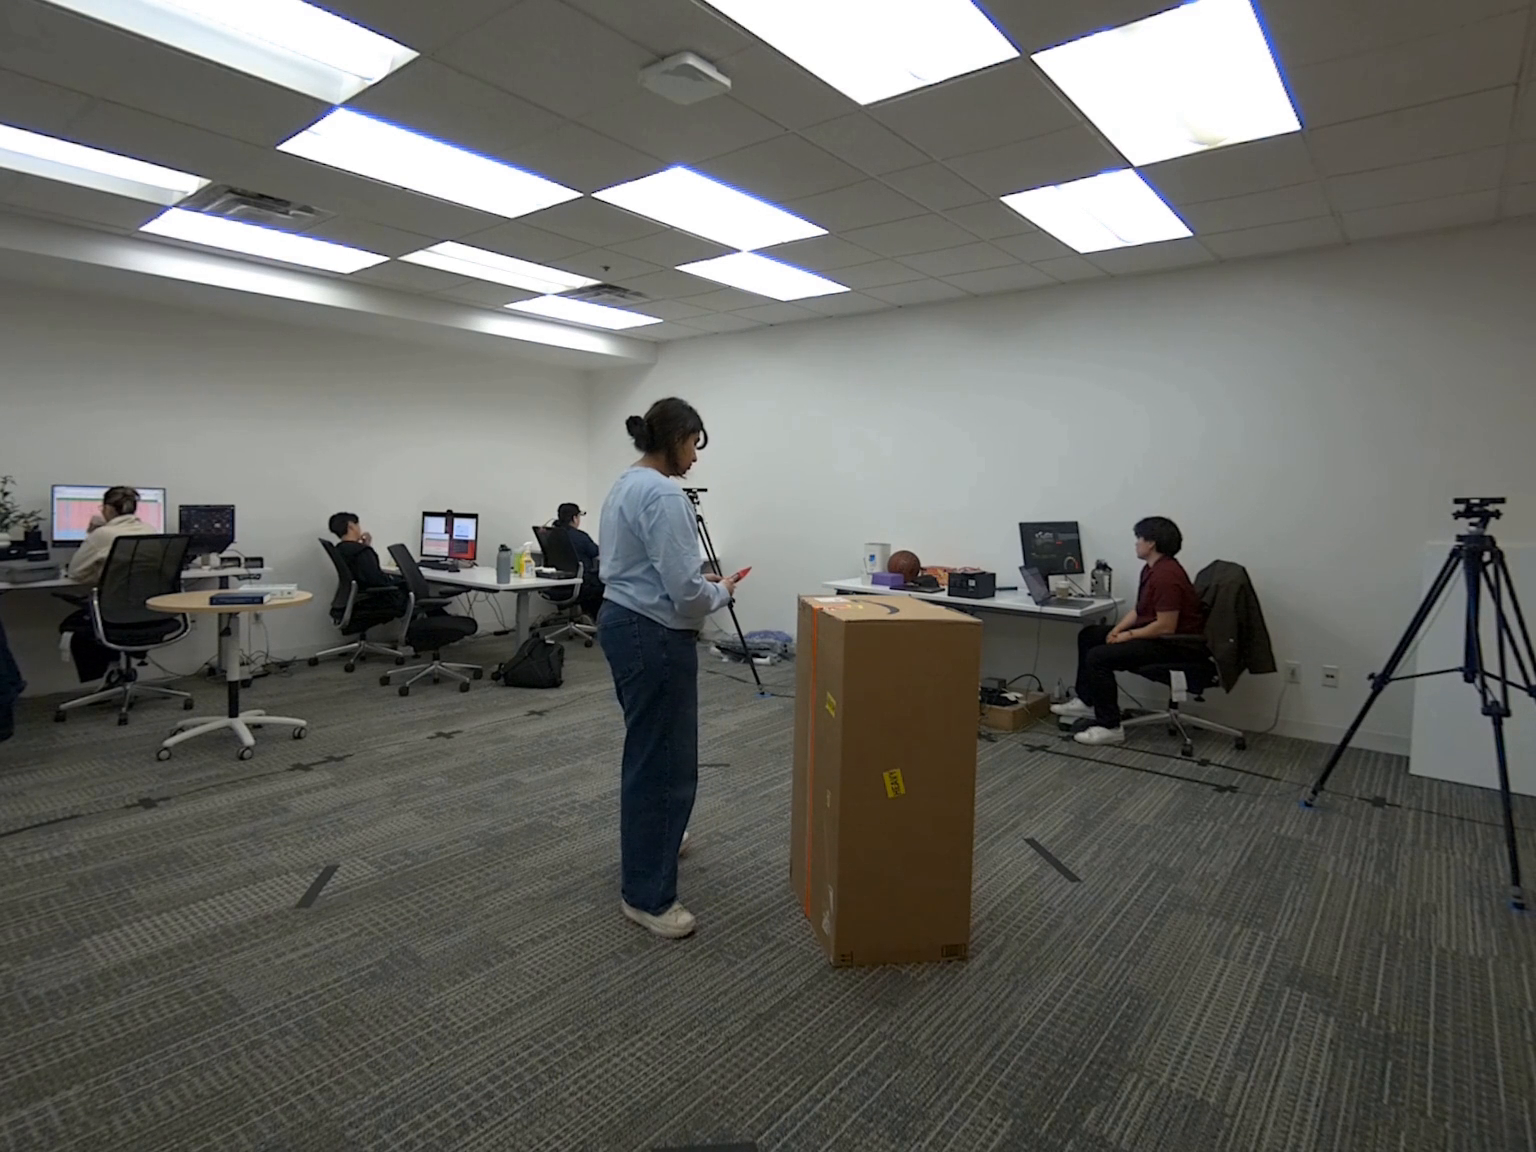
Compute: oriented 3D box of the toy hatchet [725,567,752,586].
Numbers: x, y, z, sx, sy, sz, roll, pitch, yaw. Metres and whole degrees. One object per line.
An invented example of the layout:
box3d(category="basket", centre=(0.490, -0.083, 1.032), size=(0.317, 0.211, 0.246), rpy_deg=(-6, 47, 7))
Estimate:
box3d(category="toy hatchet", centre=(-0.168, 0.033, 2.947), size=(0.132, 0.030, 0.266), rpy_deg=(-35, -1, 32))
